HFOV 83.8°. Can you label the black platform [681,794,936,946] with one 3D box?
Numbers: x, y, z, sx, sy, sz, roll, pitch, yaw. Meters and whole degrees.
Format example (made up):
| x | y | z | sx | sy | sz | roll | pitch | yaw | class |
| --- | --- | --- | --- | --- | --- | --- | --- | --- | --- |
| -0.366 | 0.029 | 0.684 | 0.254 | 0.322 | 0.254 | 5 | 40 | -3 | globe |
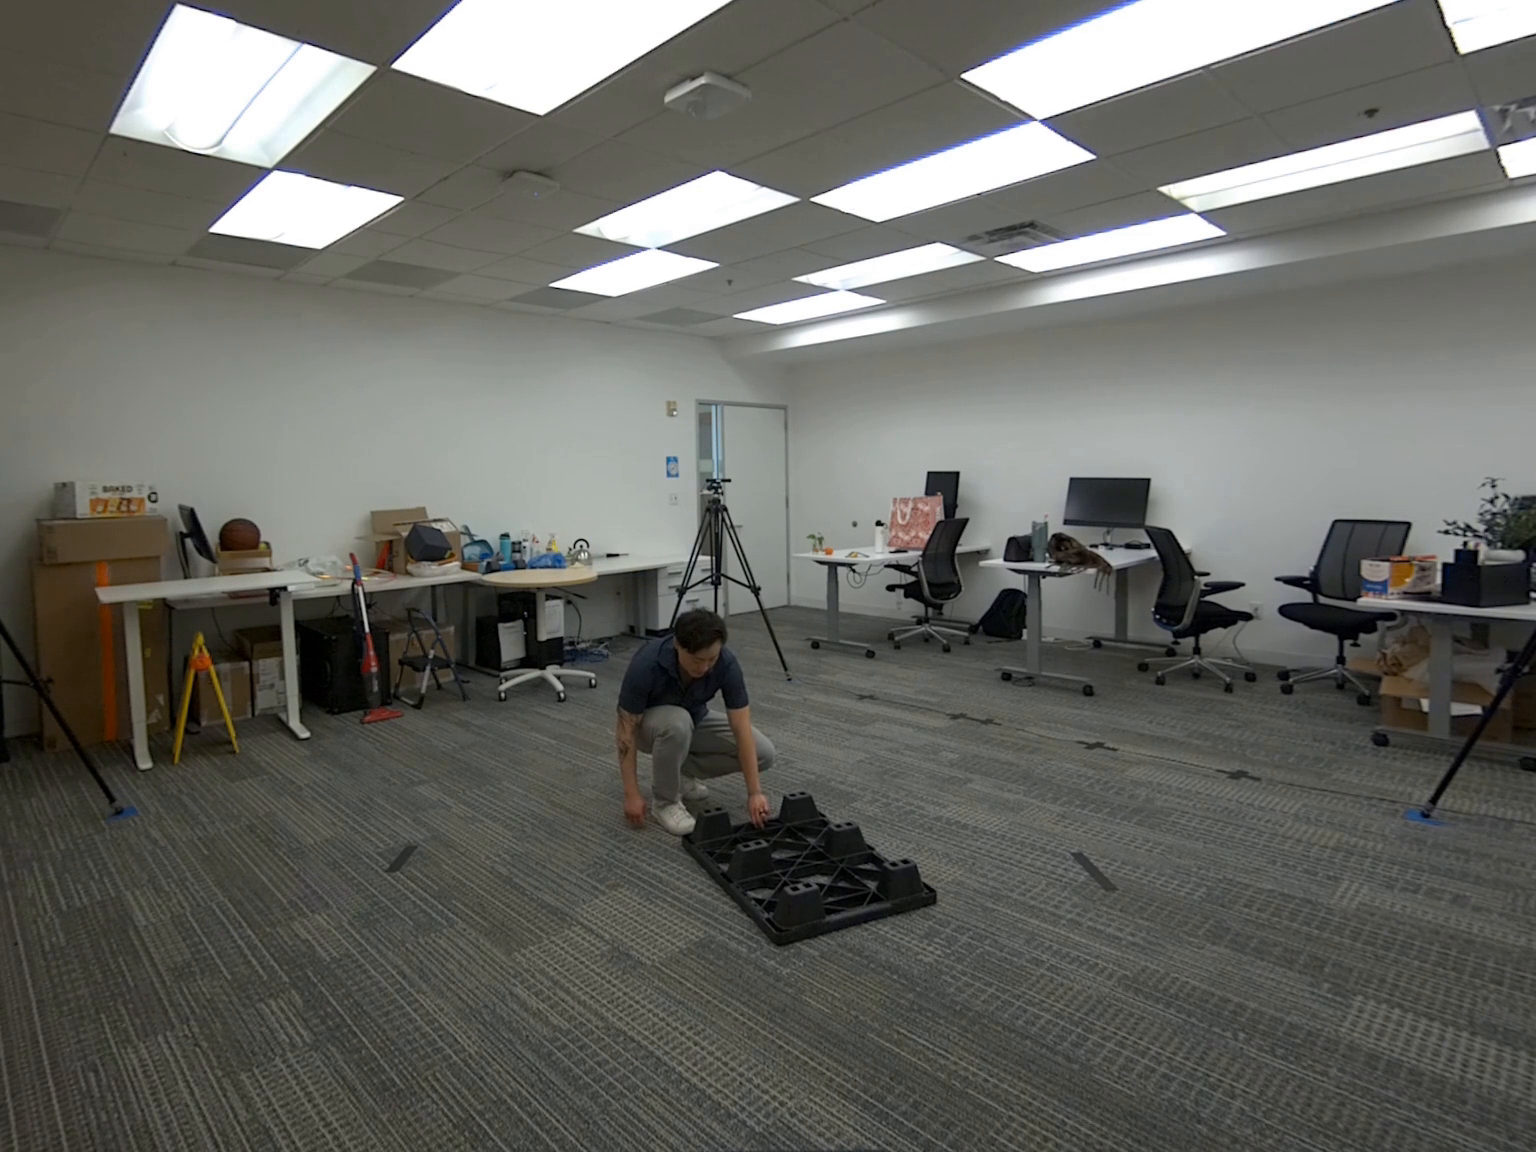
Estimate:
| x | y | z | sx | sy | sz | roll | pitch | yaw | class |
| --- | --- | --- | --- | --- | --- | --- | --- | --- | --- |
| 0.107 | 0.984 | 3.026 | 0.592 | 0.143 | 0.826 | -4 | 7 | -26 | black platform |
